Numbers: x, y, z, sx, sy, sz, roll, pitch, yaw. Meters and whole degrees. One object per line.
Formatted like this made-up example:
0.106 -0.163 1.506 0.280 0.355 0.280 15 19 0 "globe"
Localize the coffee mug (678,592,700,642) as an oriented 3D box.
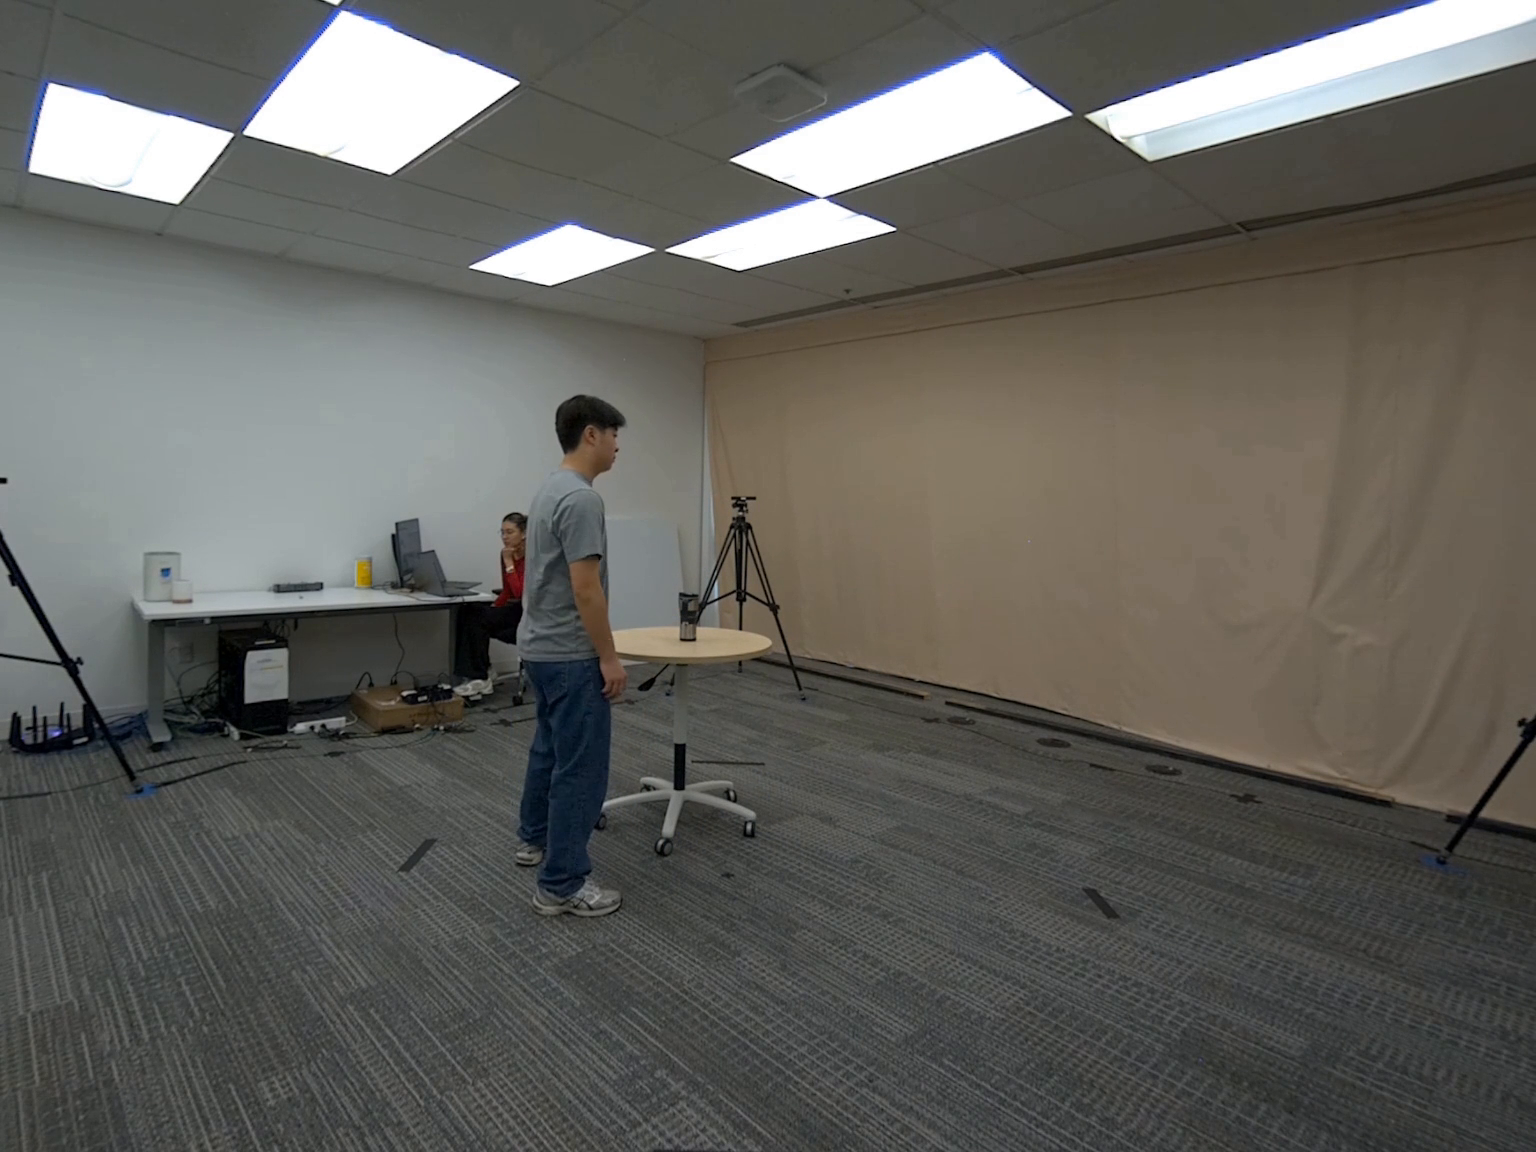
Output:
-0.358 0.174 3.565 0.090 0.202 0.119 10 4 38 "coffee mug"
